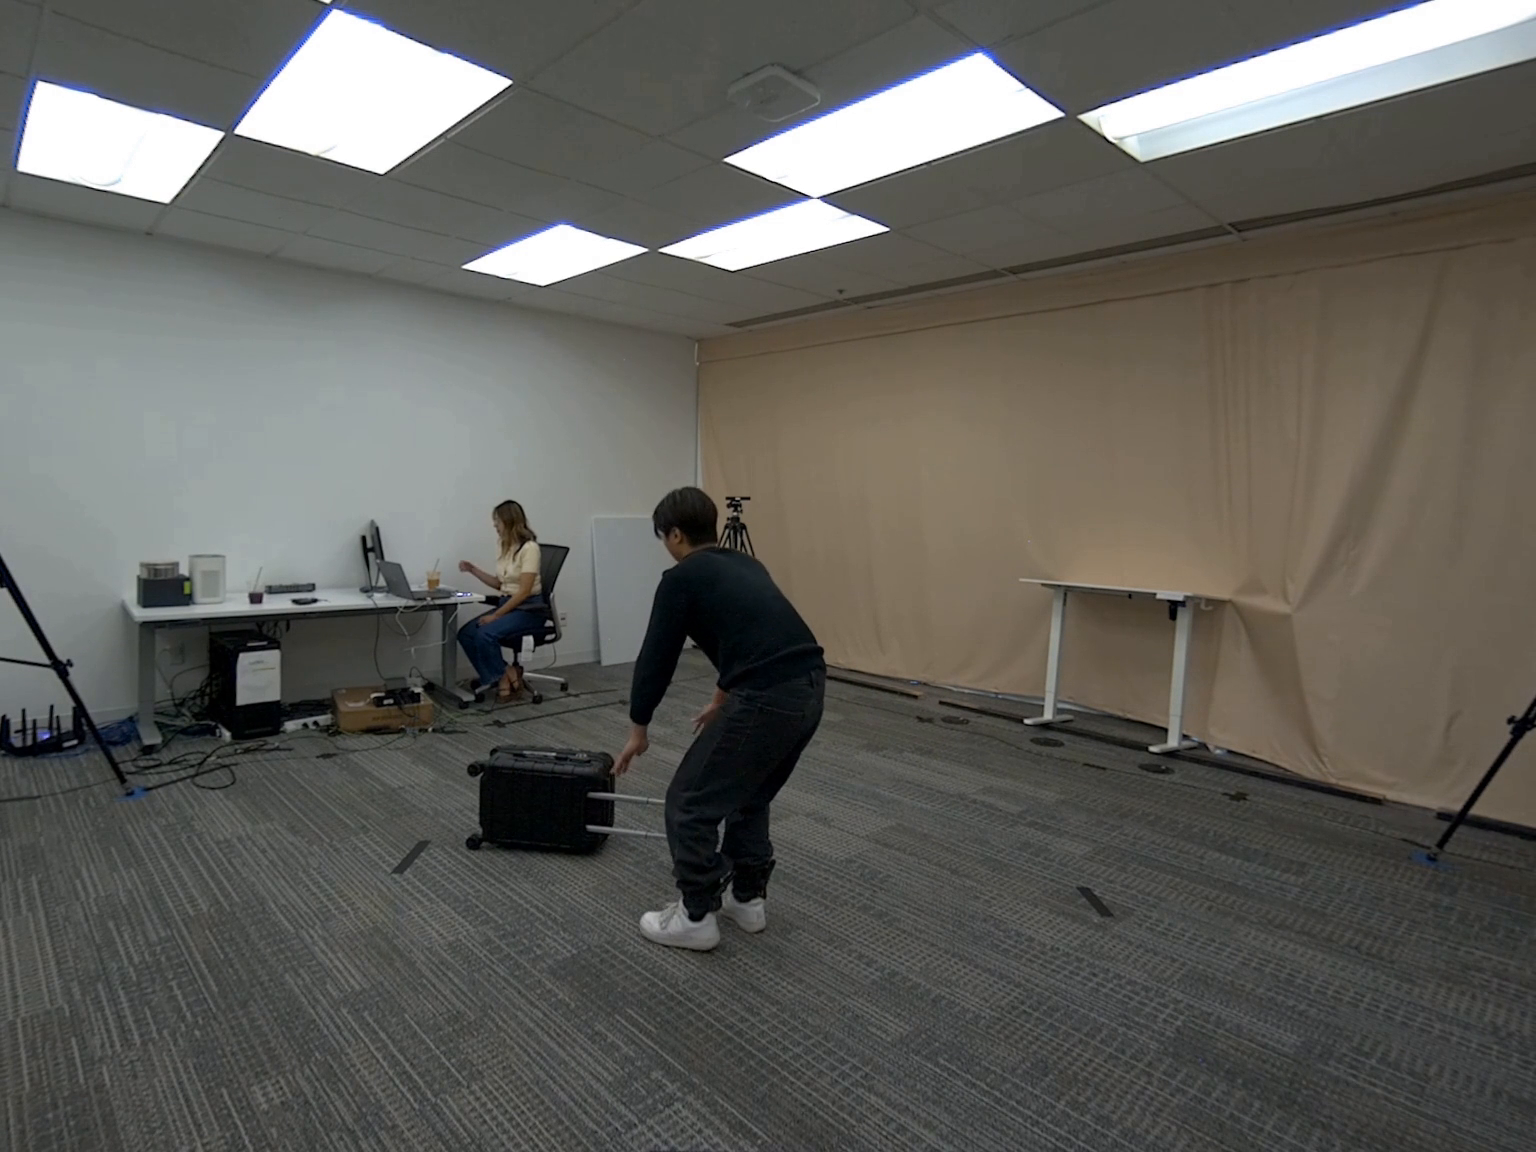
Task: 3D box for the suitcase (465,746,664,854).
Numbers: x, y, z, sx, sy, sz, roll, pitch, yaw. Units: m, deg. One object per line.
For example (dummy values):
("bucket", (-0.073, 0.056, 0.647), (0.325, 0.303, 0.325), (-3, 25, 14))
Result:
("suitcase", (-0.684, 0.888, 3.323), (0.985, 0.383, 0.256), (2, 4, 7))
